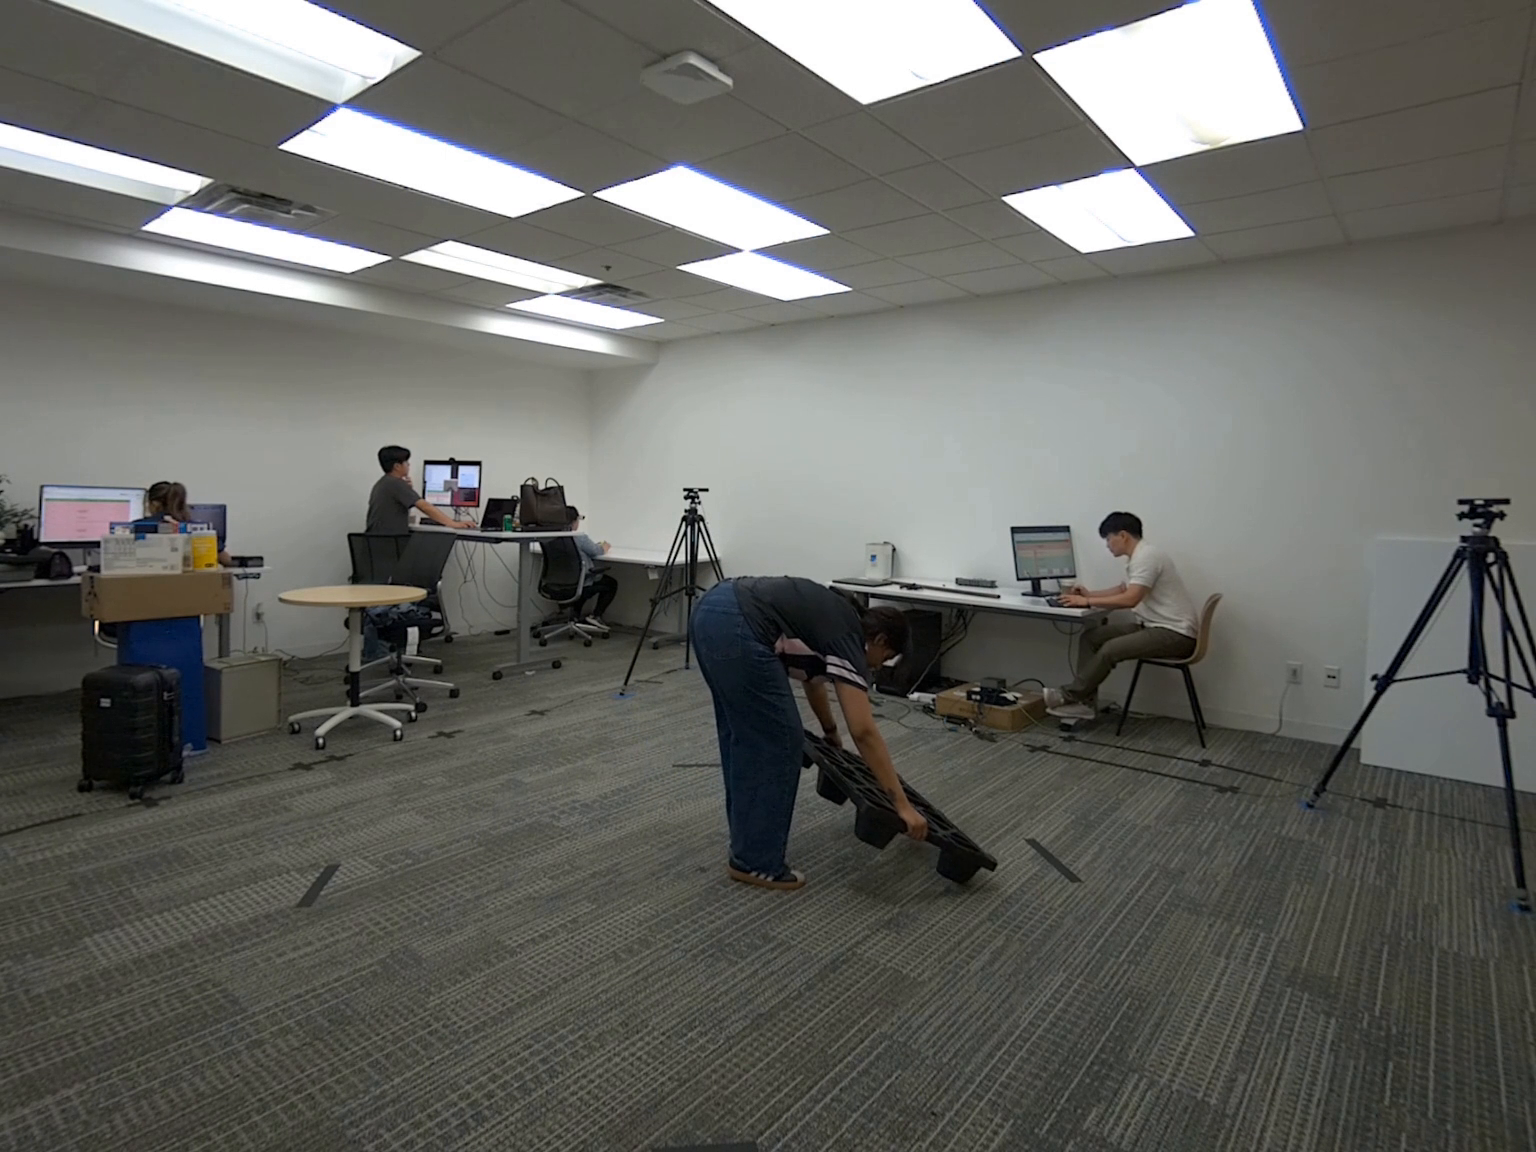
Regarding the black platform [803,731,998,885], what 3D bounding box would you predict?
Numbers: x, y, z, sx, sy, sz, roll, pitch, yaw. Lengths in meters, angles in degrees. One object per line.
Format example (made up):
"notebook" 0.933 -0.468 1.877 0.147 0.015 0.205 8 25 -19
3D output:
"black platform" 0.406 0.860 3.275 0.591 0.143 0.825 28 0 -19
